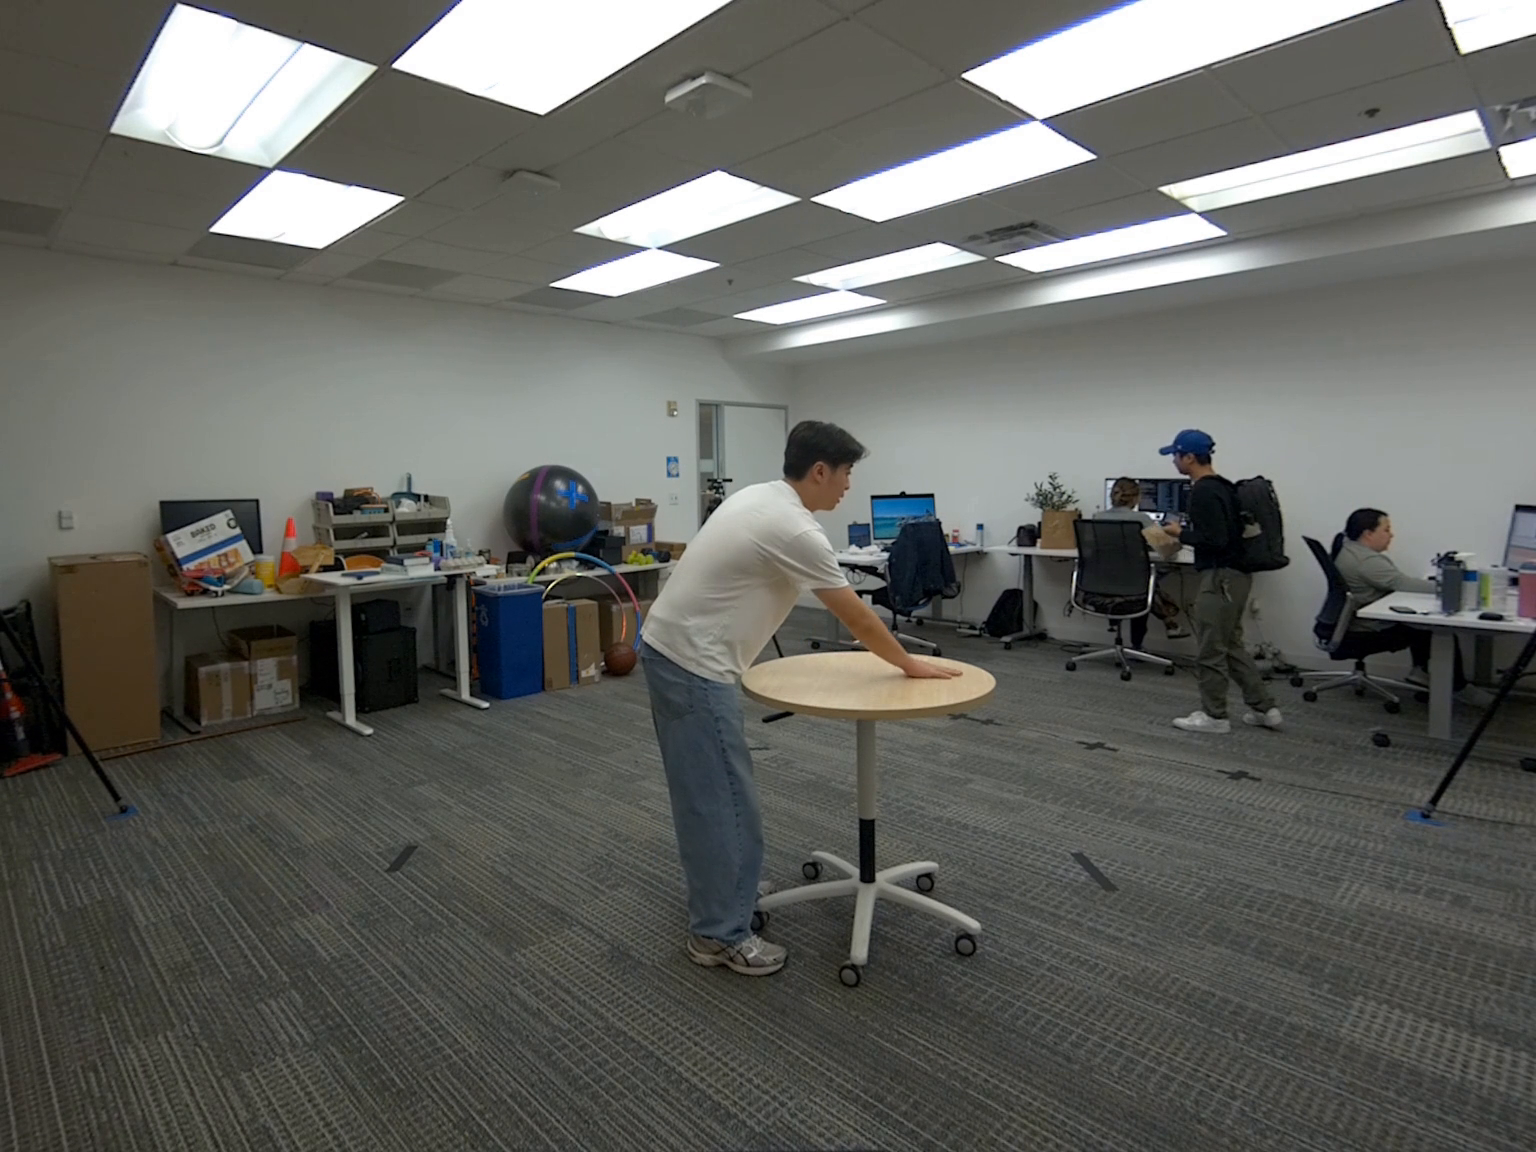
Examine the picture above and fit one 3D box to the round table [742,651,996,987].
[{"bbox_3d":[0.308,0.698,2.659,0.763,0.791,0.768,-1,5,-2],"label":"round table"}]
